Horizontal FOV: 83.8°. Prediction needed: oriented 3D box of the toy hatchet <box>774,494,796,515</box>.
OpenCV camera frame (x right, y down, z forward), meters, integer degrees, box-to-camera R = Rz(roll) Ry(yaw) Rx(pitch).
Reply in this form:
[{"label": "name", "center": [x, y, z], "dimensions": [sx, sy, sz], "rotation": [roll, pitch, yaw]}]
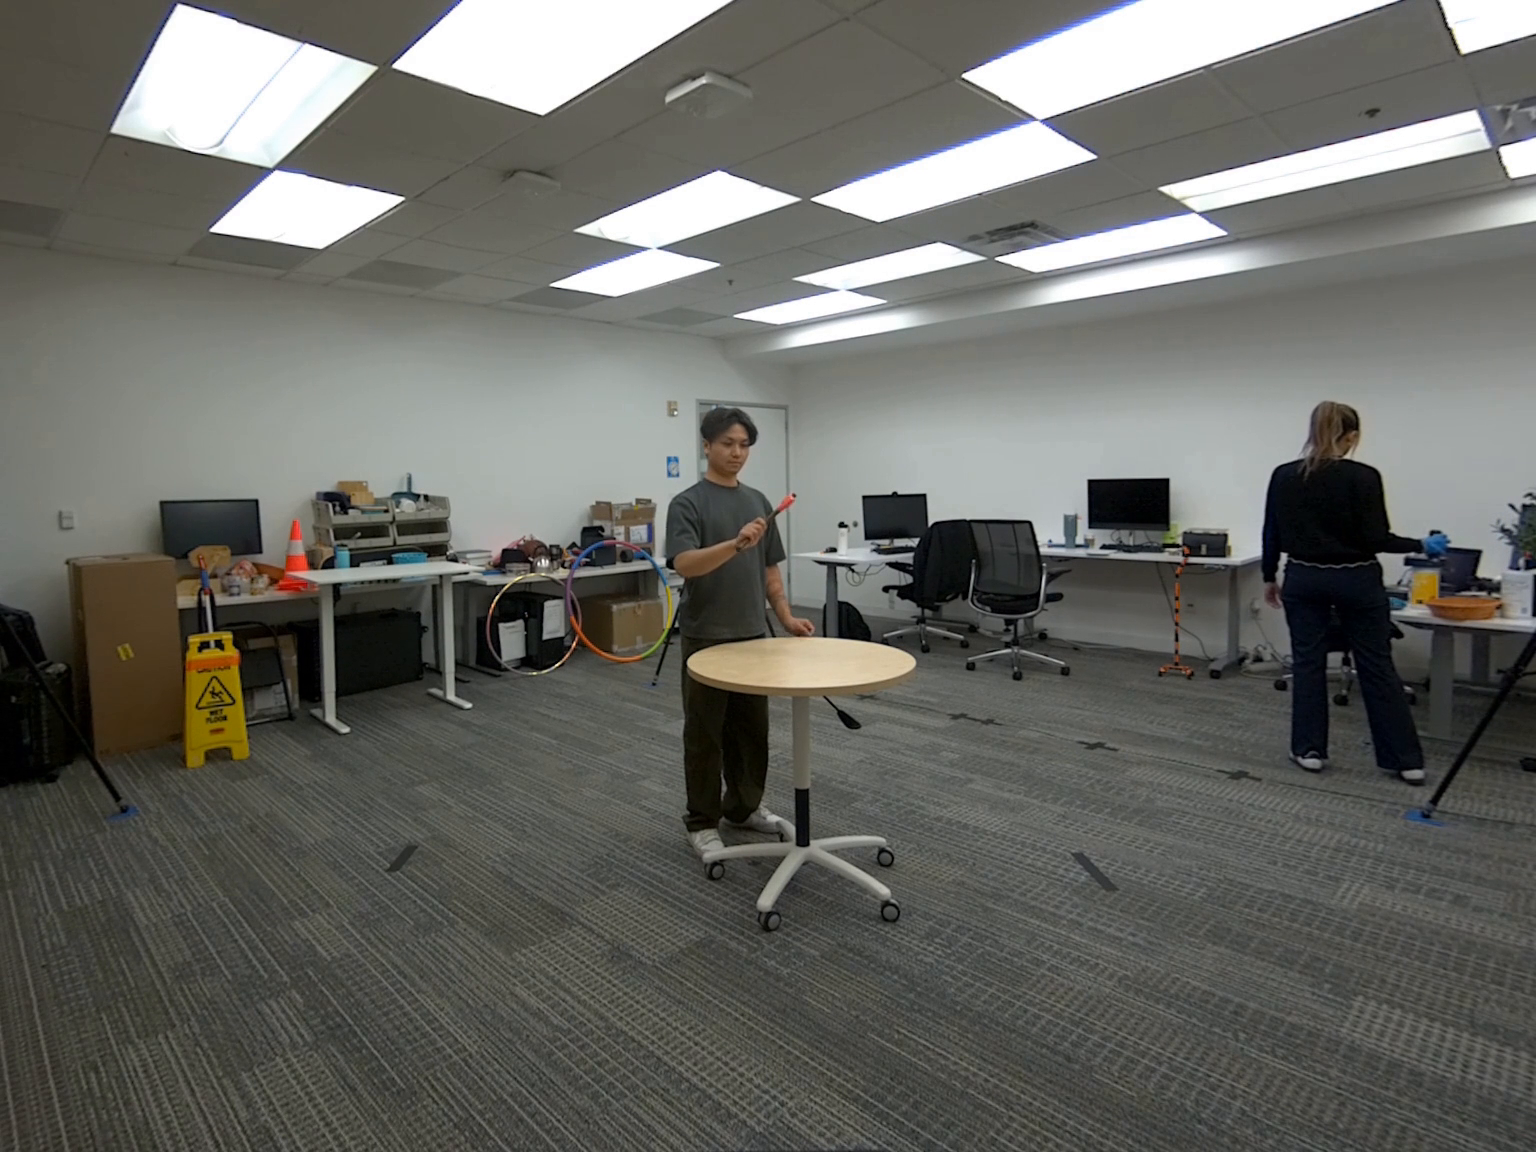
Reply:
[{"label": "toy hatchet", "center": [0.003, -0.184, 2.856], "dimensions": [0.270, 0.029, 0.131], "rotation": [-47, 5, -16]}]
